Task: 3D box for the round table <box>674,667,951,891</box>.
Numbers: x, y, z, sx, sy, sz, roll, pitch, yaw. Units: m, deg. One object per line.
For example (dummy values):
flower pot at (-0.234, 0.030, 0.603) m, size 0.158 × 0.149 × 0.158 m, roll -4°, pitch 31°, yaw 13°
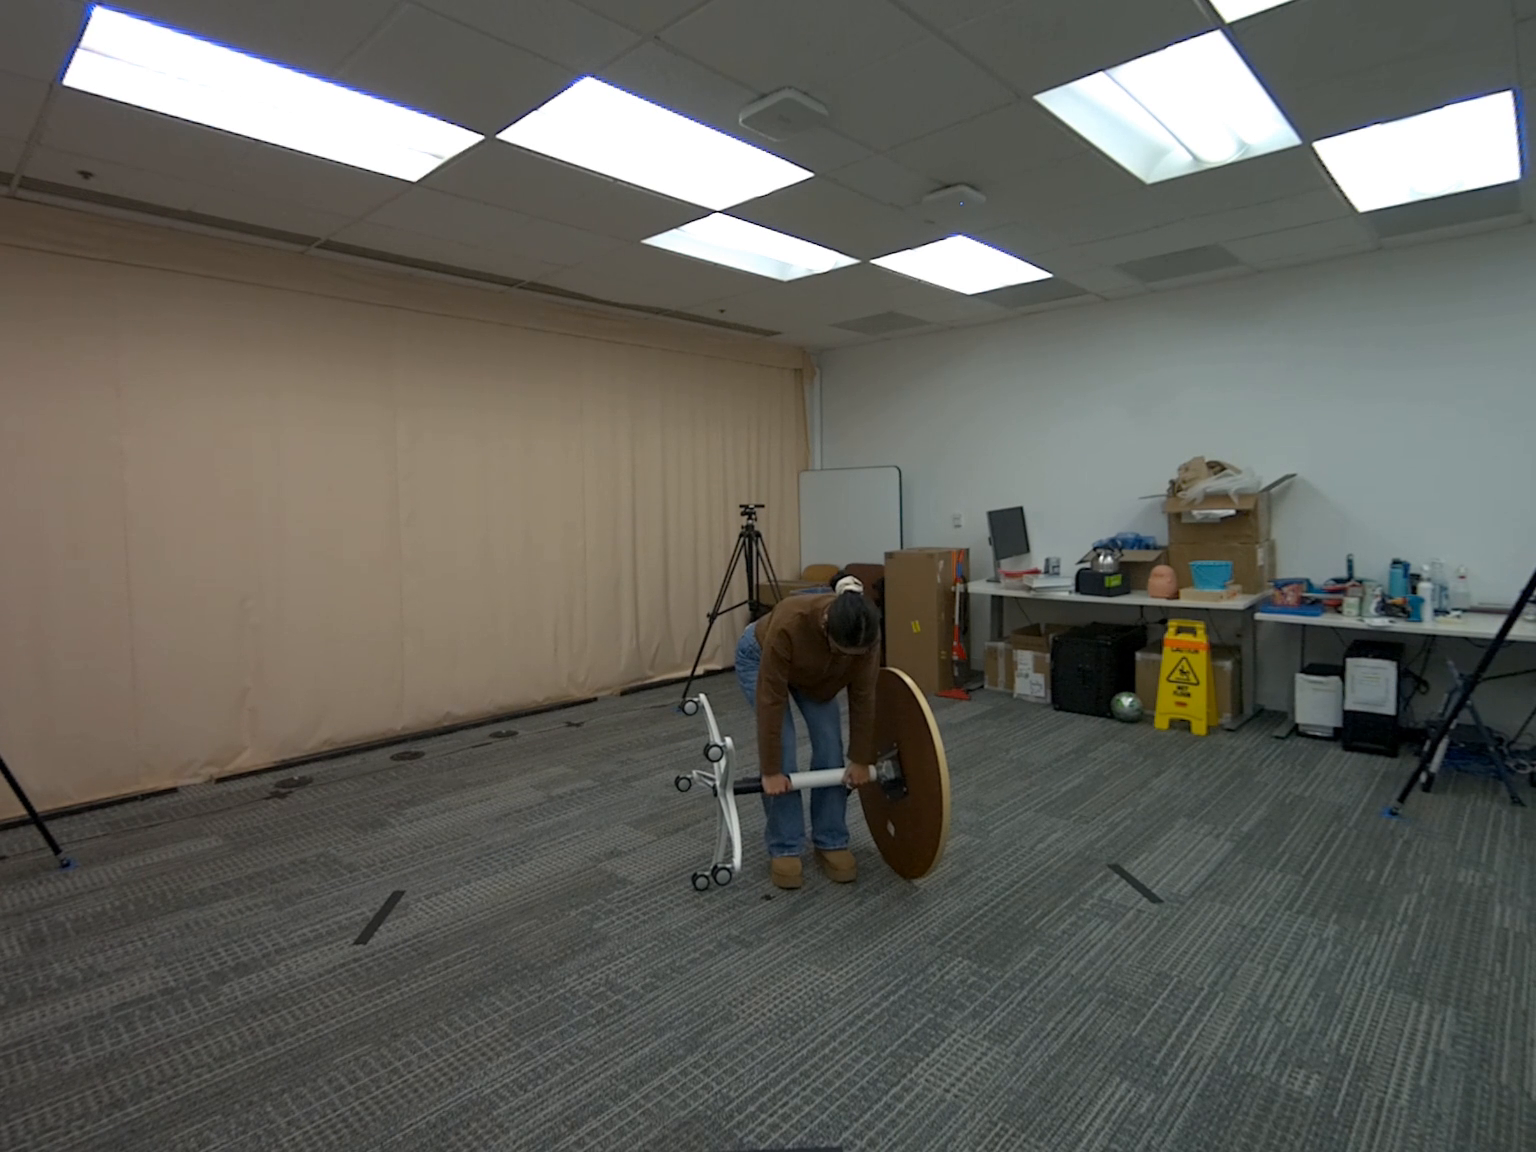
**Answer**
round table at (0.111, 0.757, 3.080) m, size 0.782 × 0.762 × 0.778 m, roll -4°, pitch 5°, yaw -16°
